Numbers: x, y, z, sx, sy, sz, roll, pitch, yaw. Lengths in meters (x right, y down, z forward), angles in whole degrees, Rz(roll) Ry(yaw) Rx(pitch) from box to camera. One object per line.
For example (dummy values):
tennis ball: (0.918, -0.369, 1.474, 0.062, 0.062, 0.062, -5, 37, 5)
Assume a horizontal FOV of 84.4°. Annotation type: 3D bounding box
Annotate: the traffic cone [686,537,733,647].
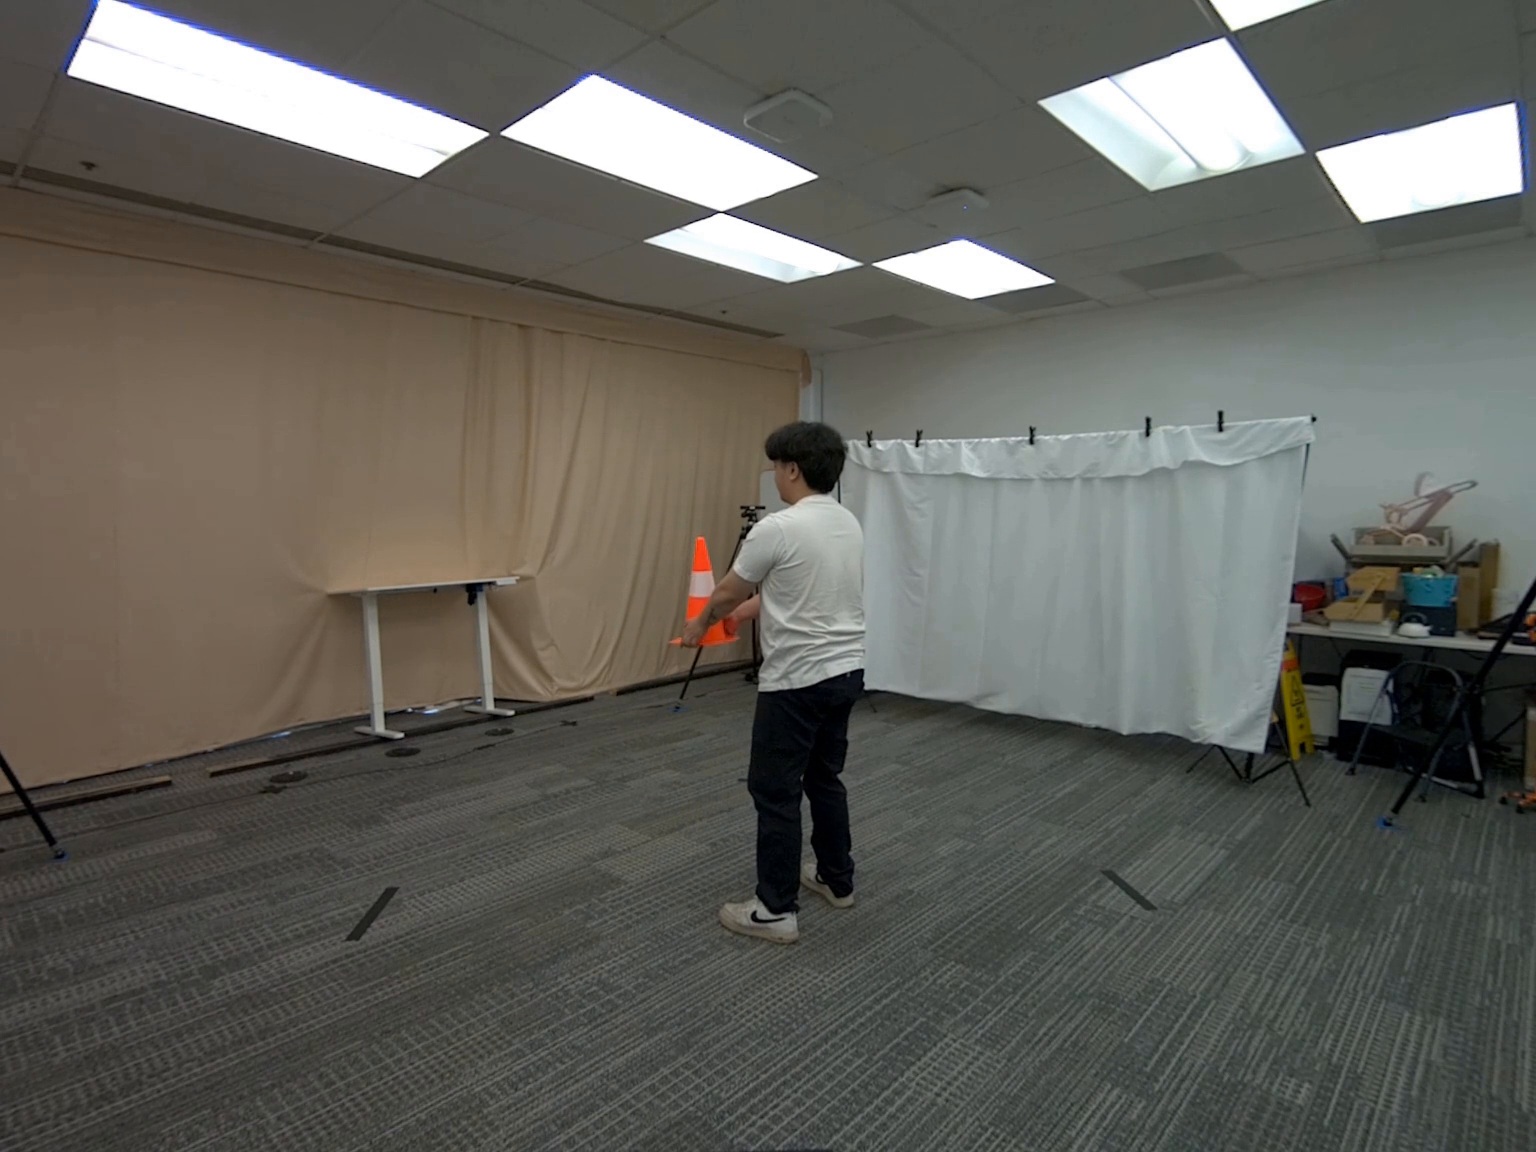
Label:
traffic cone: (-0.251, 0.046, 3.123, 0.208, 0.382, 0.200, 1, 5, 25)
